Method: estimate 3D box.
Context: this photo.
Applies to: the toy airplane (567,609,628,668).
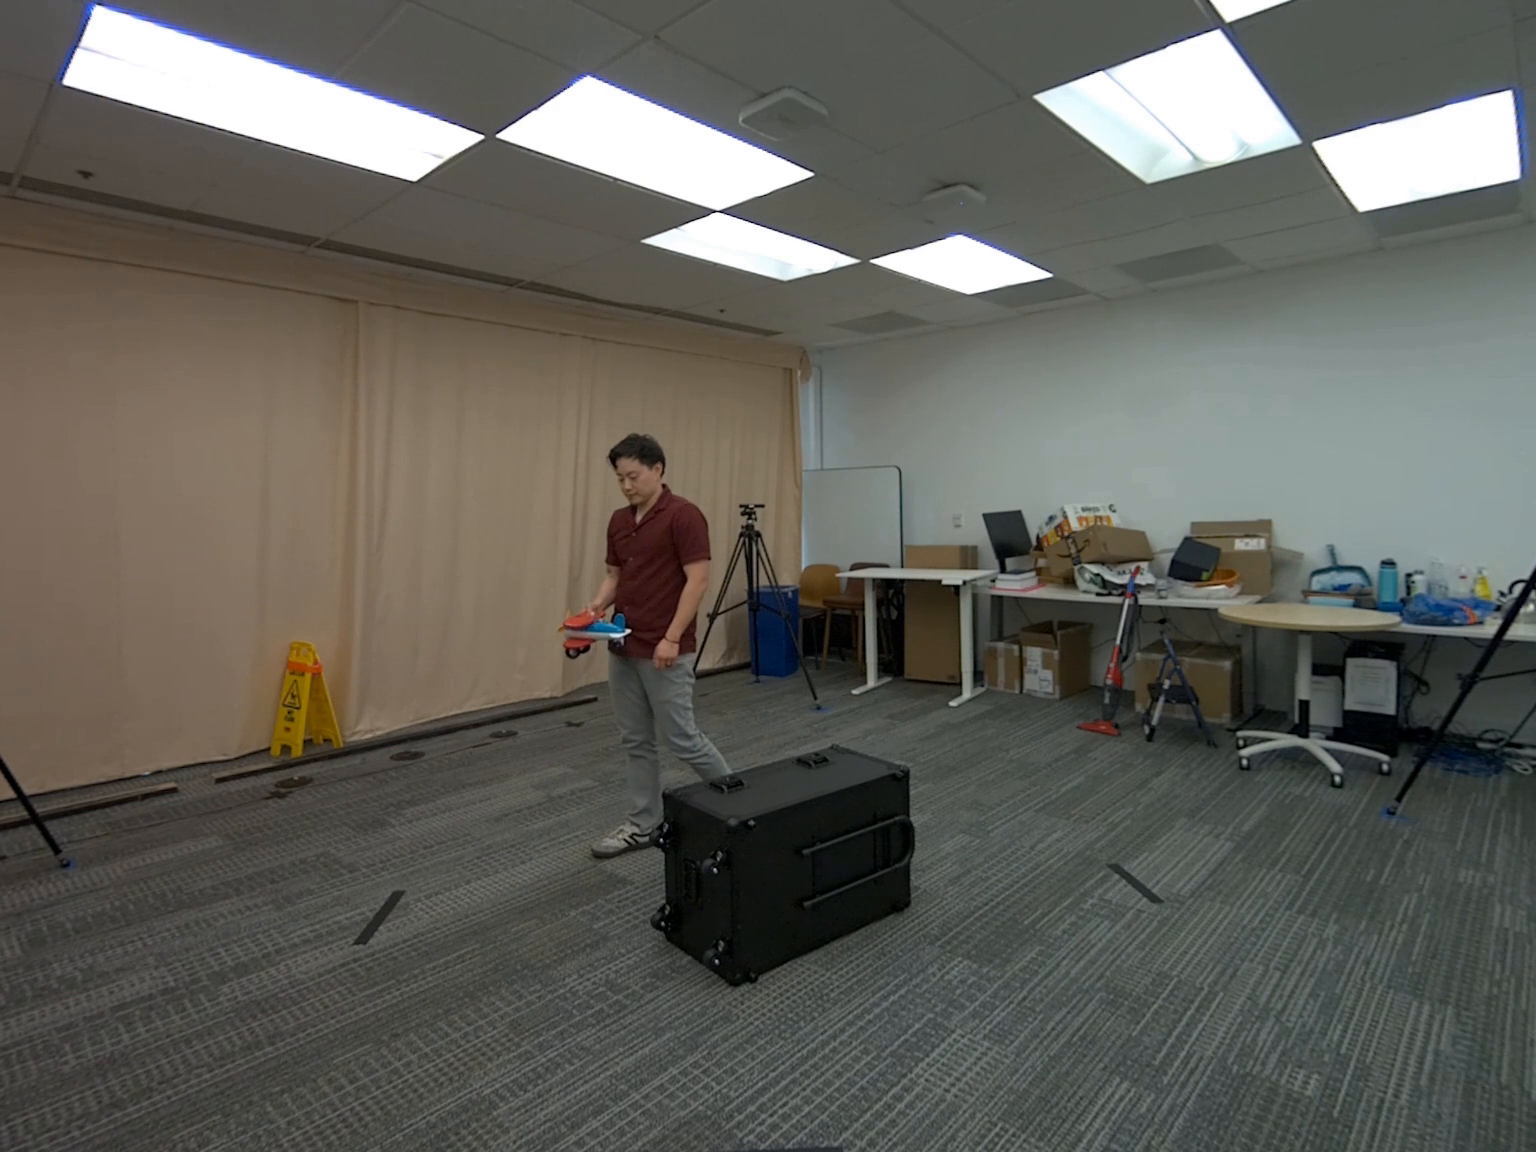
[{"bbox_3d":[-0.615,0.216,3.216,0.257,0.156,0.254,-14,6,-11],"label":"toy airplane"}]
